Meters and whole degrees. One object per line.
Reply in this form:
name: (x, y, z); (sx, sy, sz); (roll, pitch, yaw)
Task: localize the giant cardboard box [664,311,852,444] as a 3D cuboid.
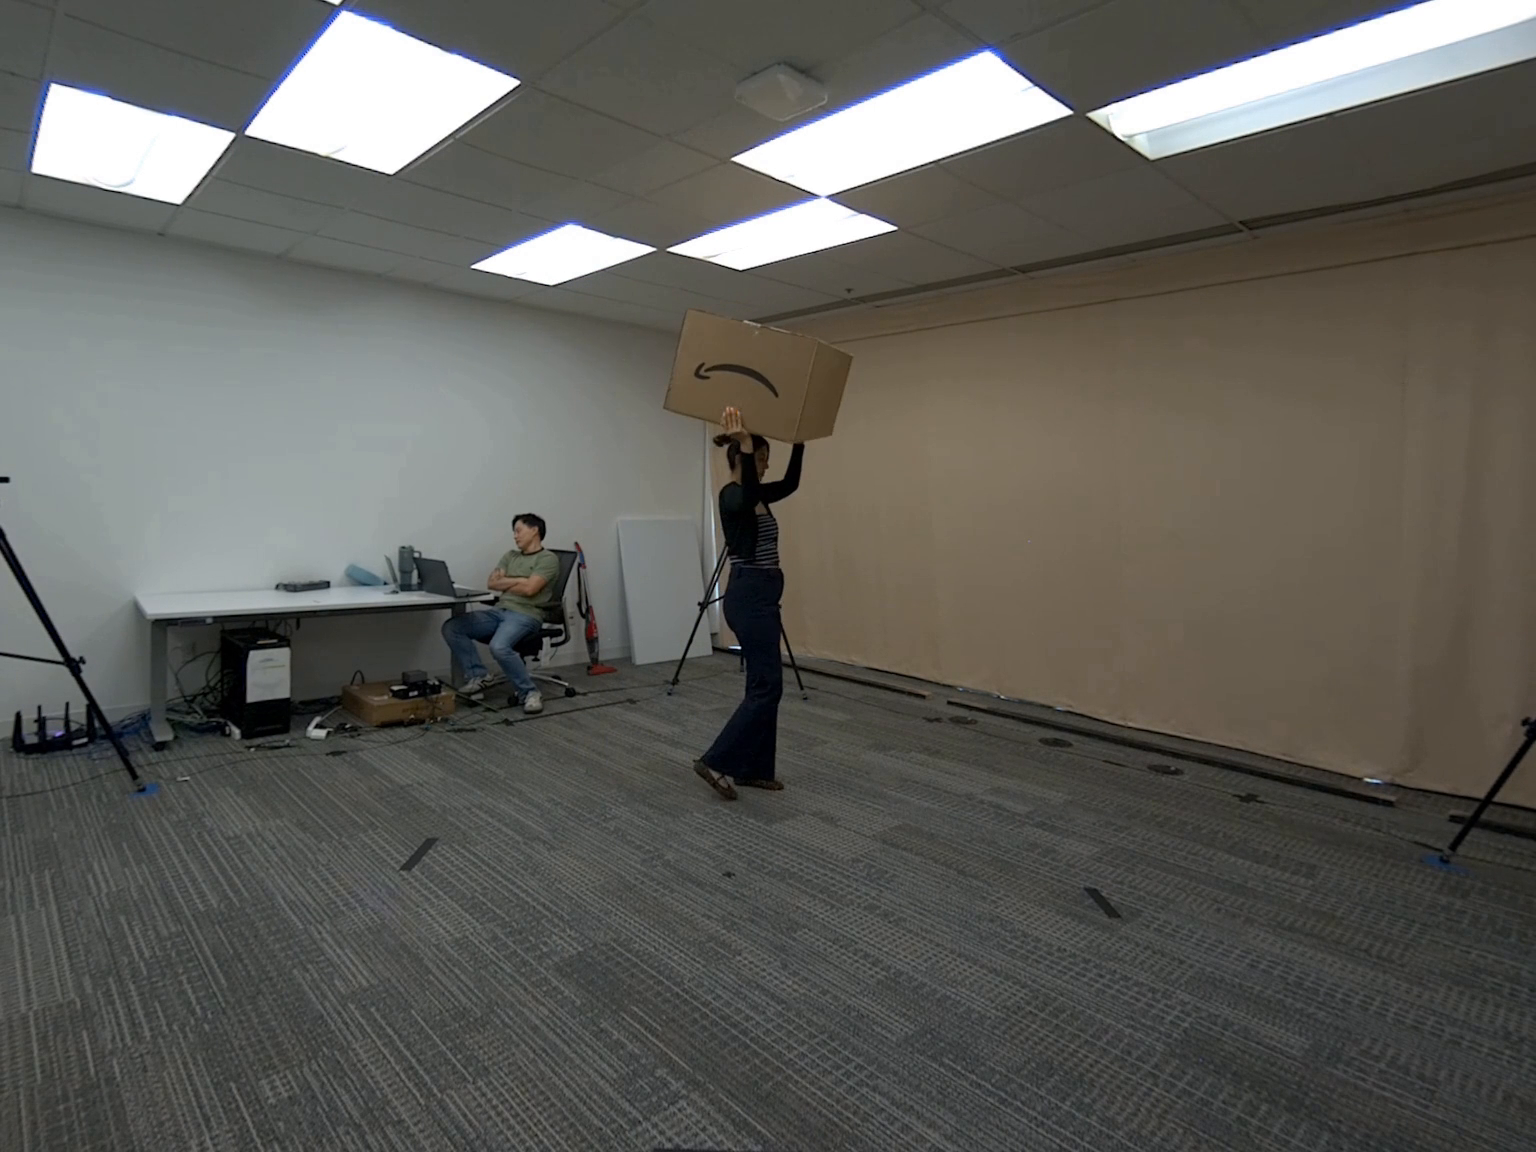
giant cardboard box: (-0.014, -0.904, 3.891); (0.584, 0.423, 1.021); (17, 14, 11)
